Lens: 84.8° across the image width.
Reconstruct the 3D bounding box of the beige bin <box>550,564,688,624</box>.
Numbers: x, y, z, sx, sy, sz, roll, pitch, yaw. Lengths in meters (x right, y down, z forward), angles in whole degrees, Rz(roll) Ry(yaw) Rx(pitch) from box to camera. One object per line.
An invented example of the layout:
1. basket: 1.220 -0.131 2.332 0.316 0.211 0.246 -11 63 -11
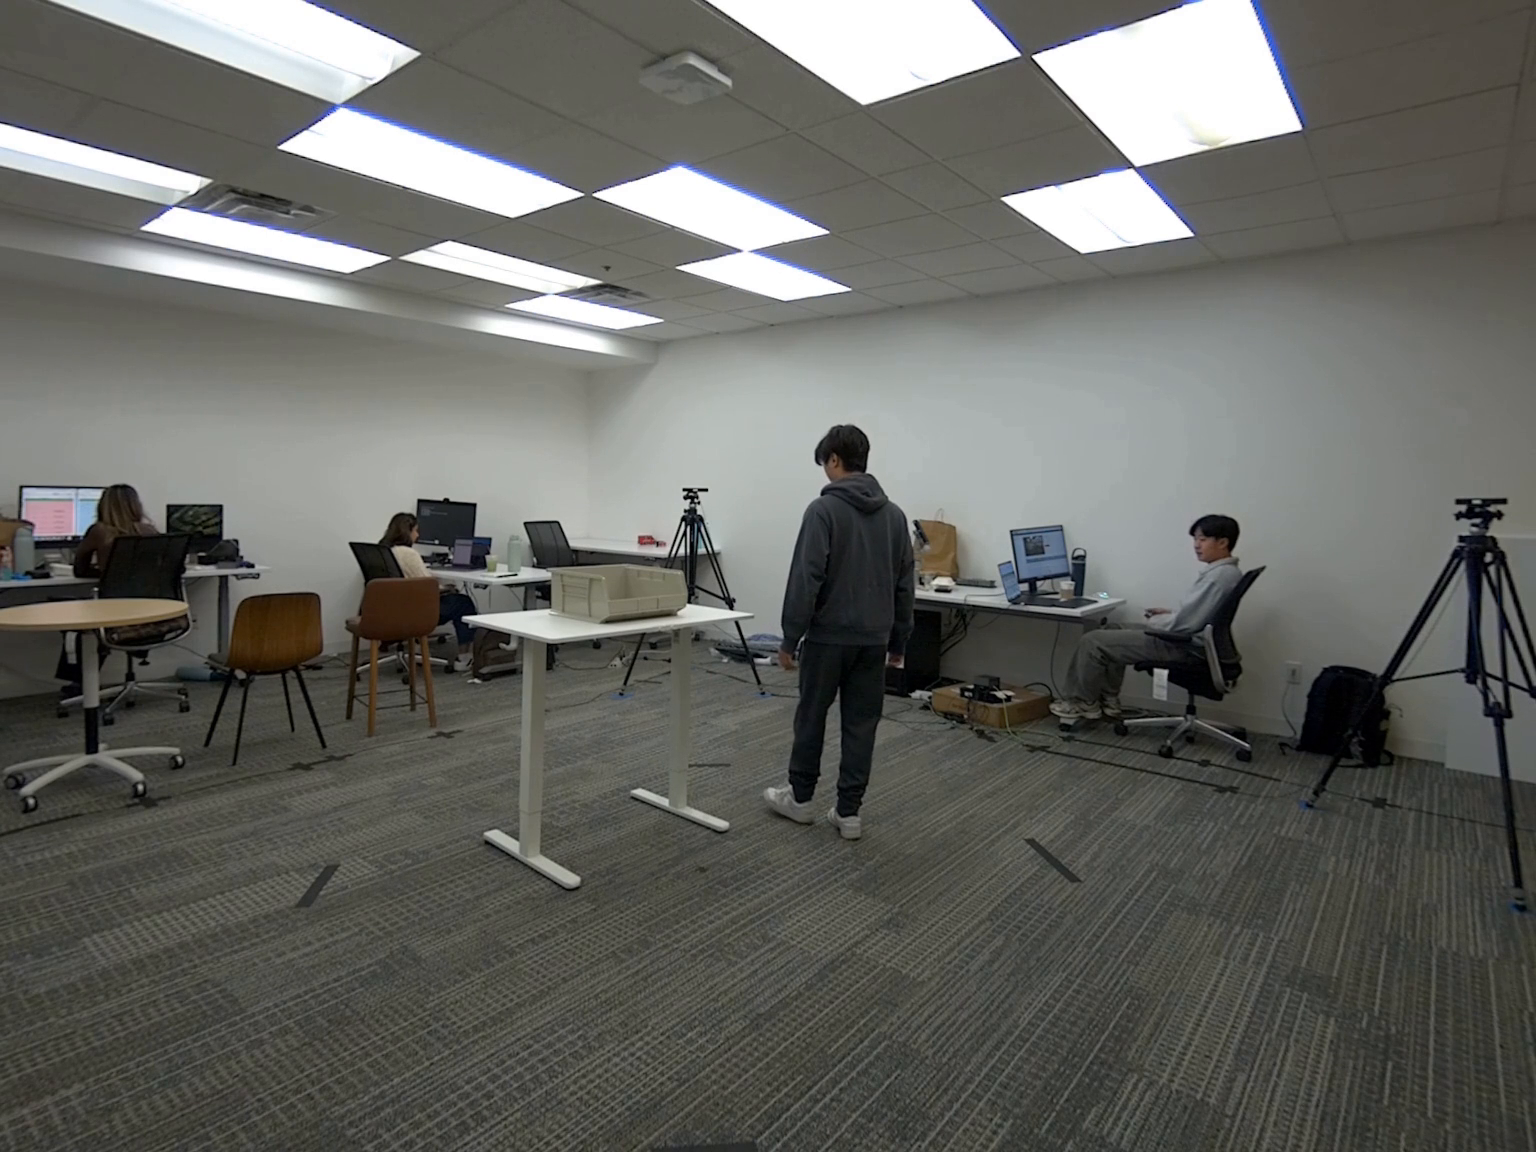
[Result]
1. beige bin: -0.610 0.065 3.384 0.390 0.188 0.409 5 6 41
